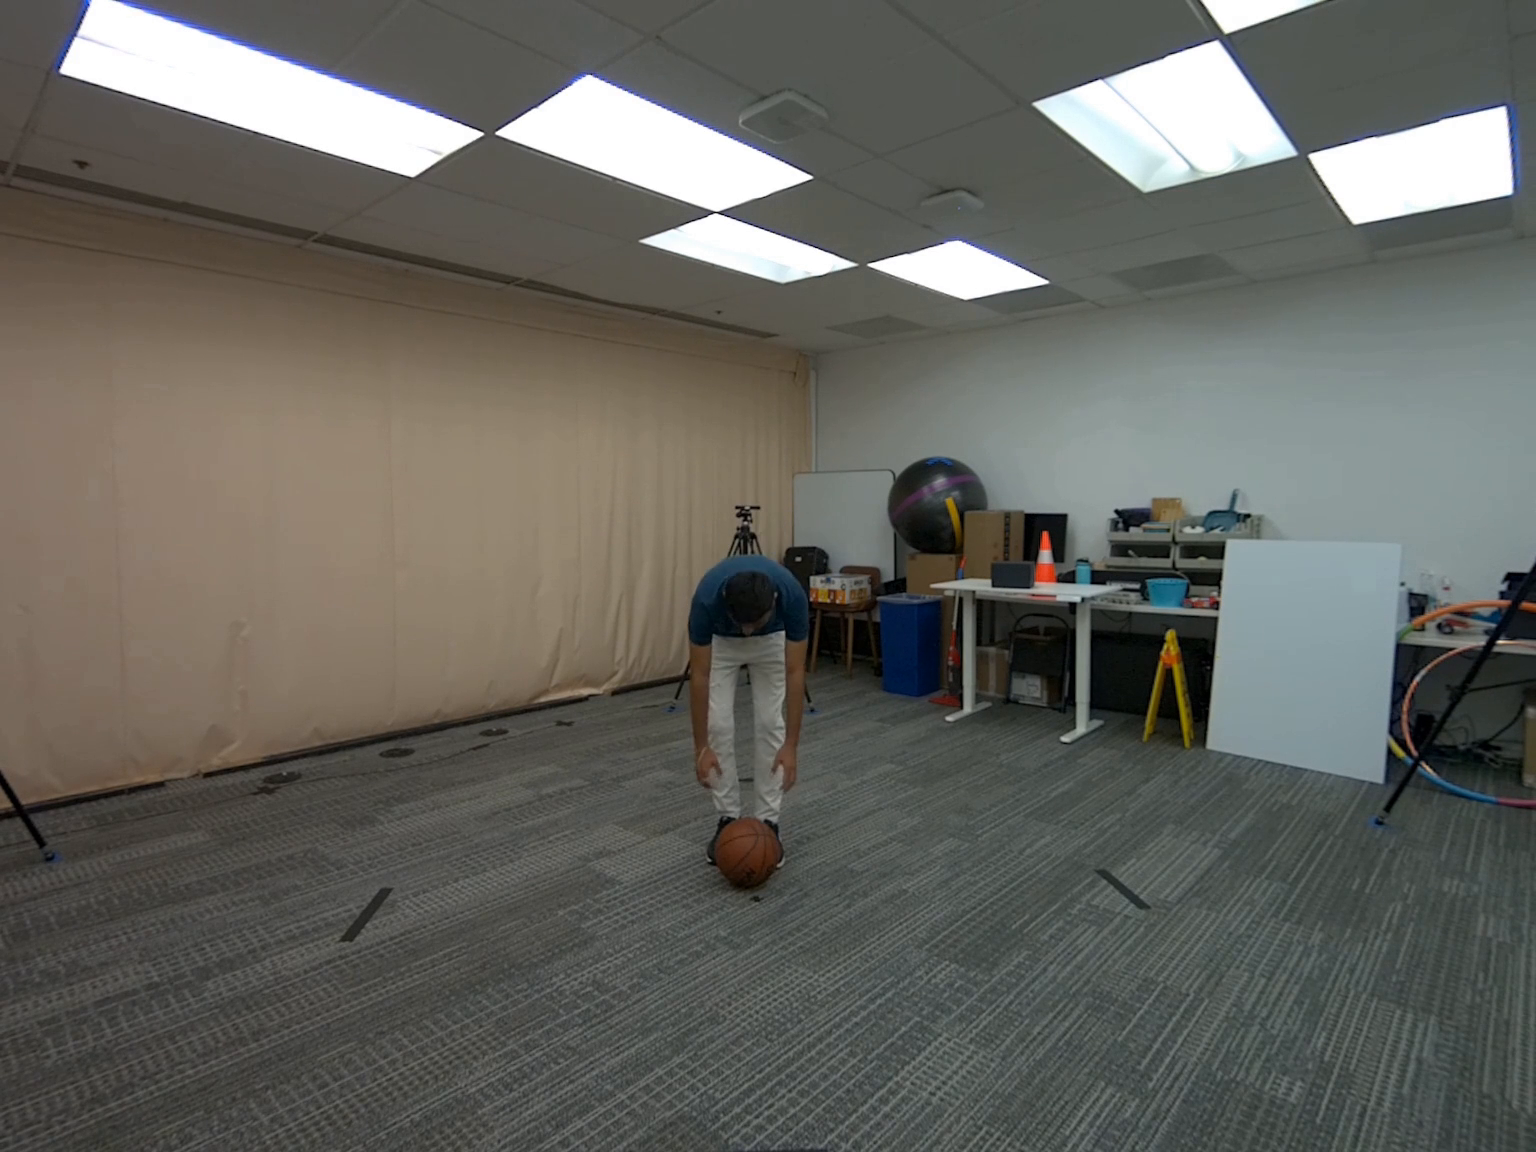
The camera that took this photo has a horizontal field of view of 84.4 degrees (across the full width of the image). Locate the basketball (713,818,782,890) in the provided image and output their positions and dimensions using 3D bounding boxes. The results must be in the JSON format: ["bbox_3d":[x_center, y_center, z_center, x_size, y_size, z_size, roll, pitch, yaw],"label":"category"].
[{"bbox_3d":[-0.077,1.007,3.103,0.236,0.235,0.237,0,4,-2],"label":"basketball"}]
